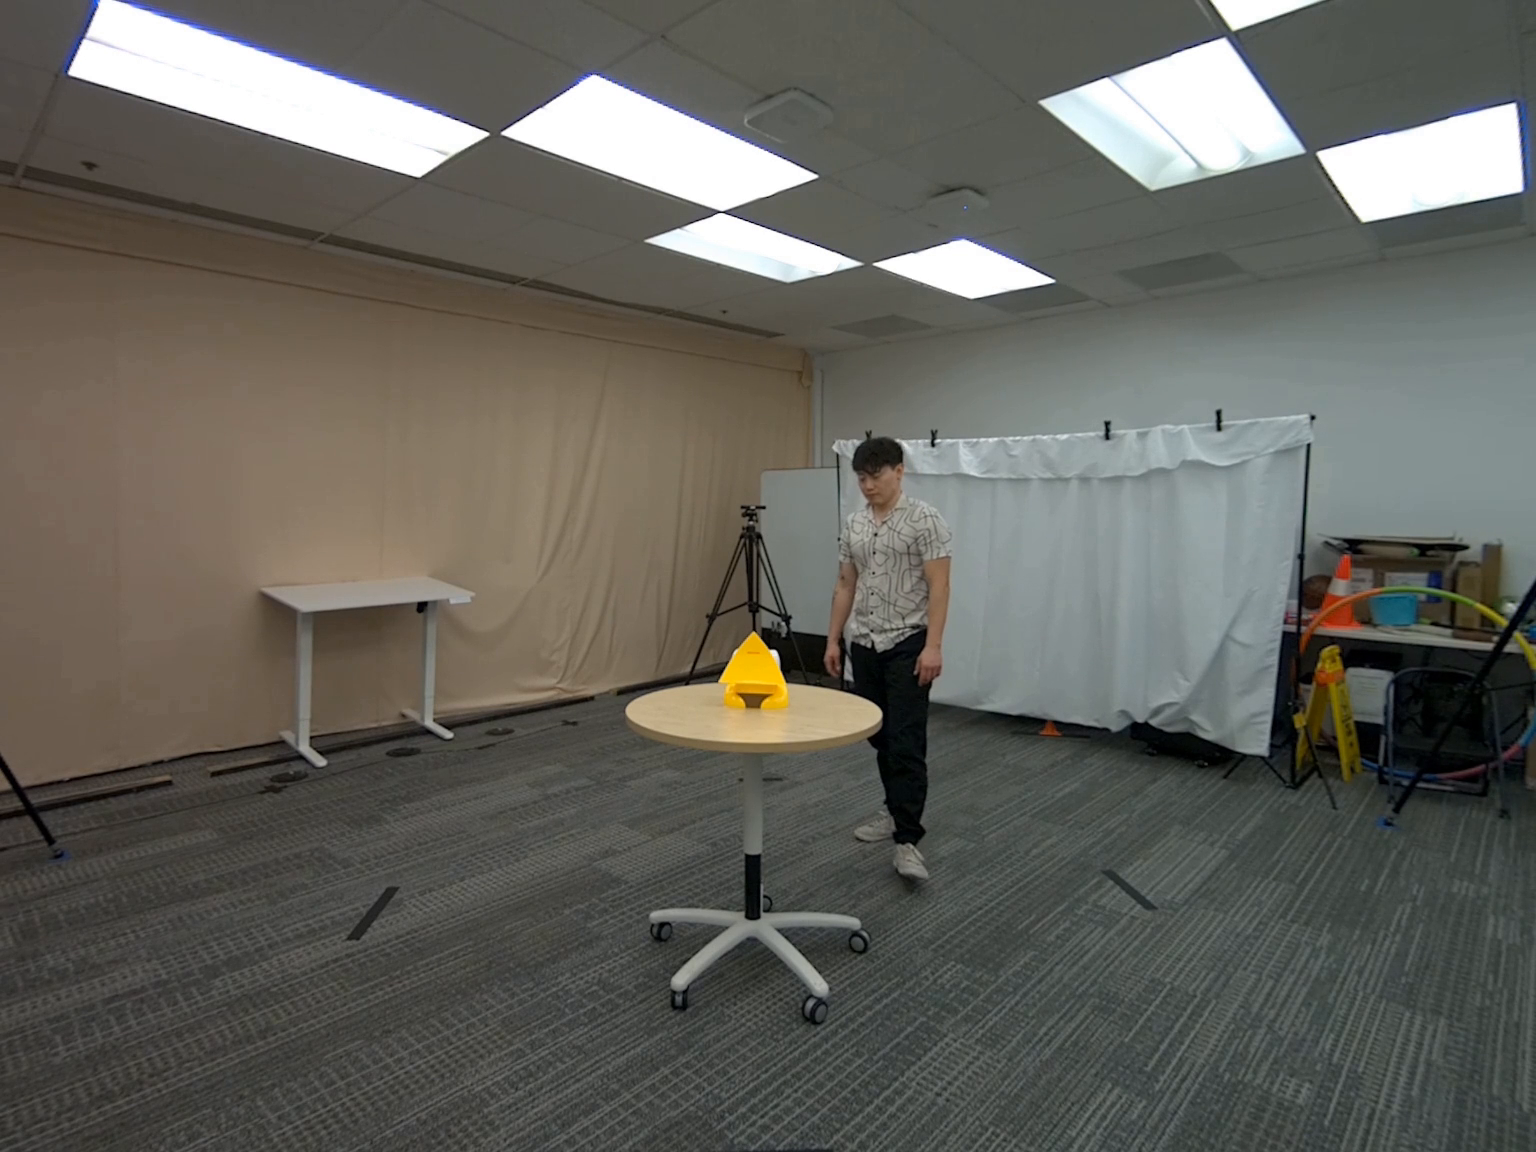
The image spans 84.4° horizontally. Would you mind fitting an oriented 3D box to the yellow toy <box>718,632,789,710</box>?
[{"bbox_3d":[-0.030,0.281,2.593,0.207,0.230,0.191,1,3,8],"label":"yellow toy"}]
